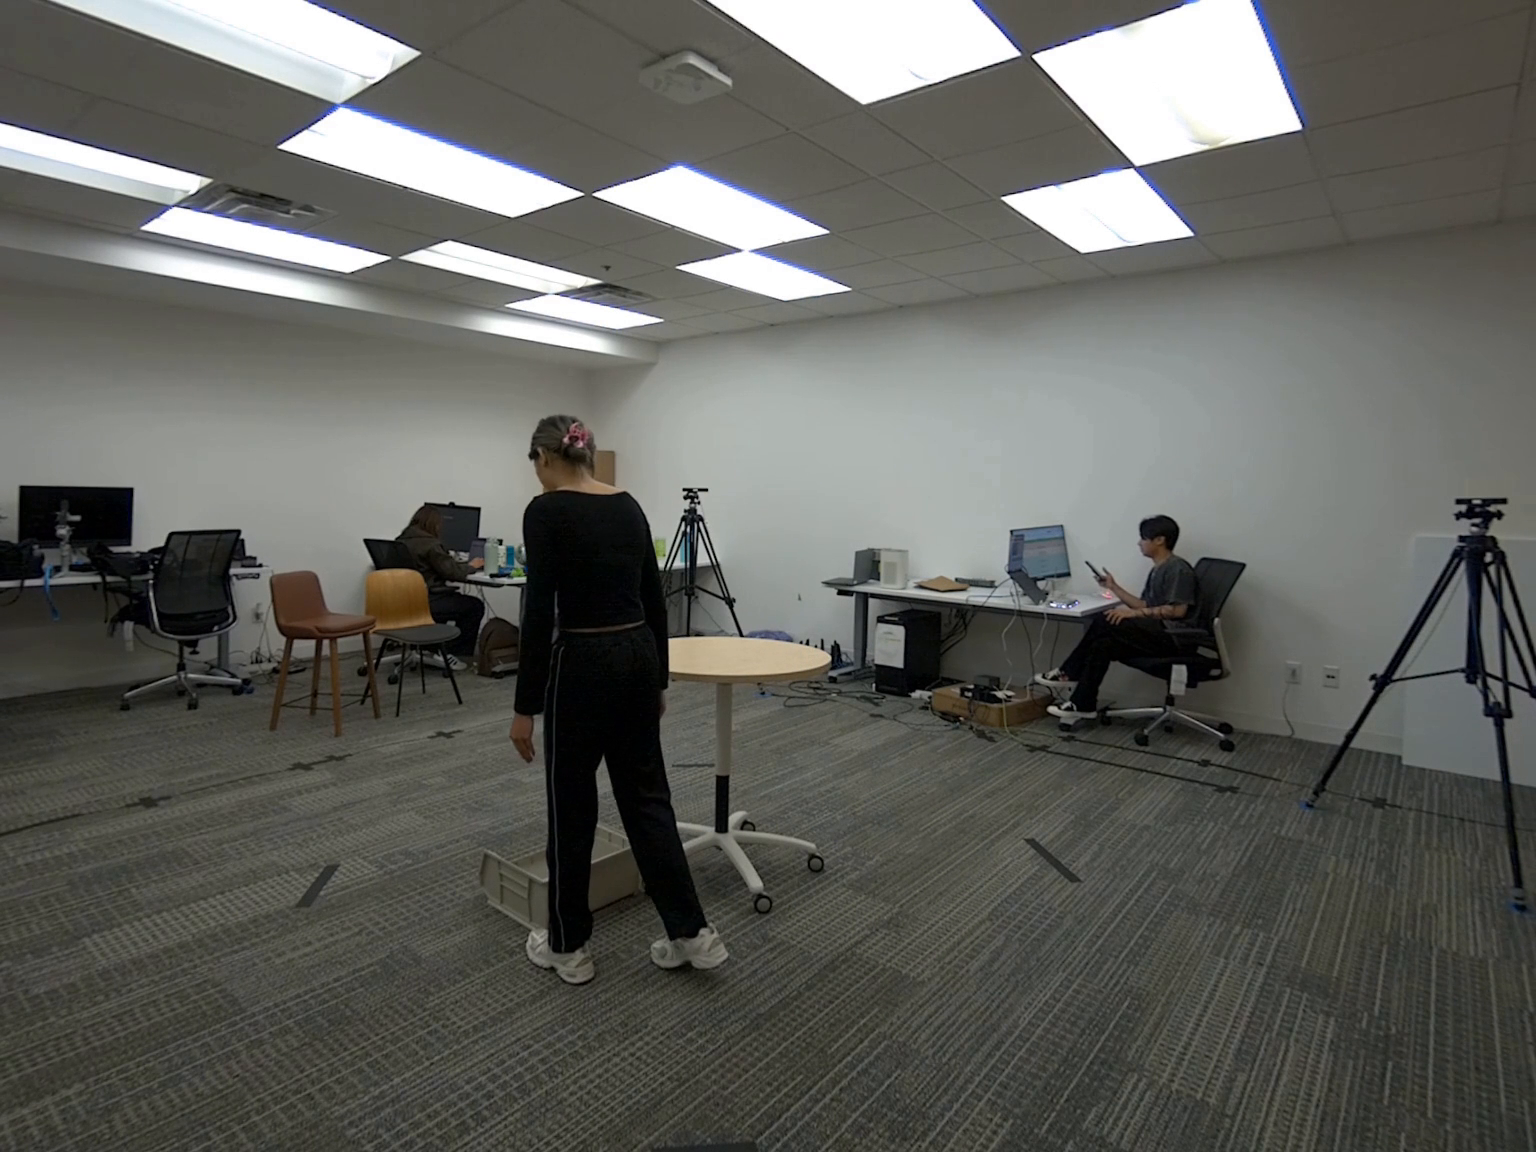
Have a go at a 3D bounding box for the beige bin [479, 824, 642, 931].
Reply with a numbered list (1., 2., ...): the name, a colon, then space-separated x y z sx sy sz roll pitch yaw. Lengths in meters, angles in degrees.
1. beige bin: -0.709 0.997 2.884 0.390 0.188 0.410 6 7 40
